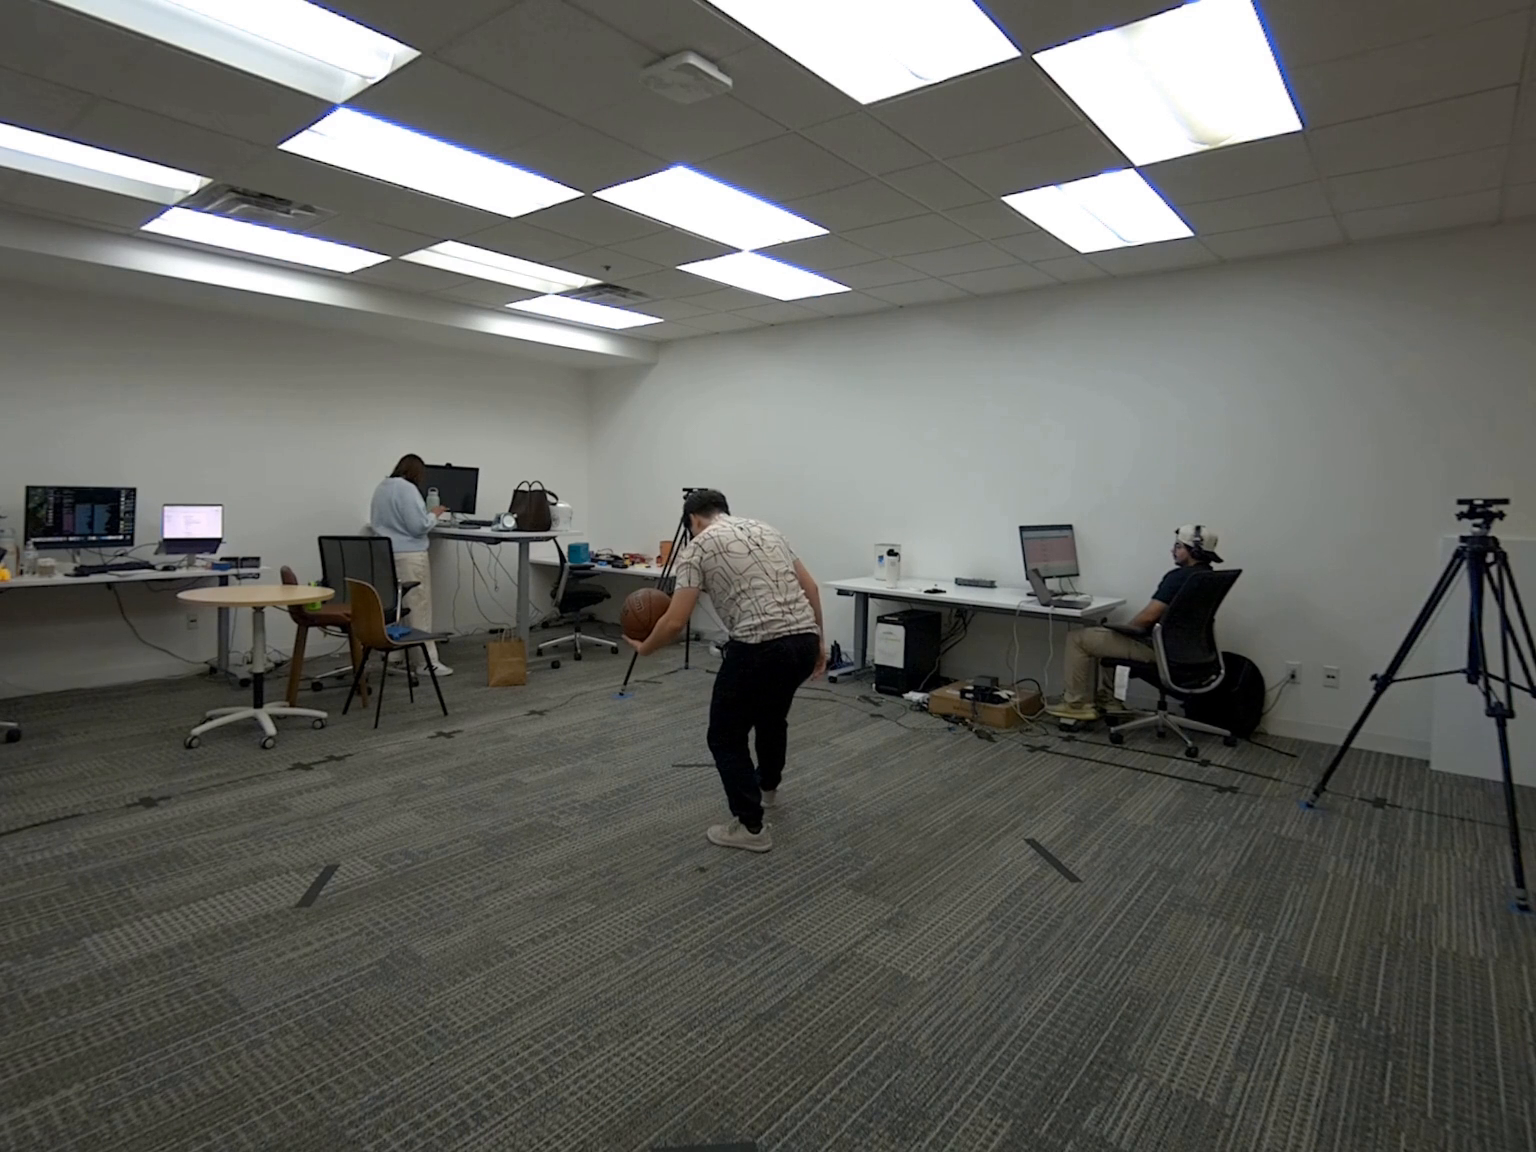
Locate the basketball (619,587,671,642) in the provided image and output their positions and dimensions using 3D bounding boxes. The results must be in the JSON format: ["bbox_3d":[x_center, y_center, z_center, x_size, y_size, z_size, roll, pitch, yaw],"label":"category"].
[{"bbox_3d":[-0.504,0.165,3.552,0.235,0.235,0.237,1,4,-2],"label":"basketball"}]
